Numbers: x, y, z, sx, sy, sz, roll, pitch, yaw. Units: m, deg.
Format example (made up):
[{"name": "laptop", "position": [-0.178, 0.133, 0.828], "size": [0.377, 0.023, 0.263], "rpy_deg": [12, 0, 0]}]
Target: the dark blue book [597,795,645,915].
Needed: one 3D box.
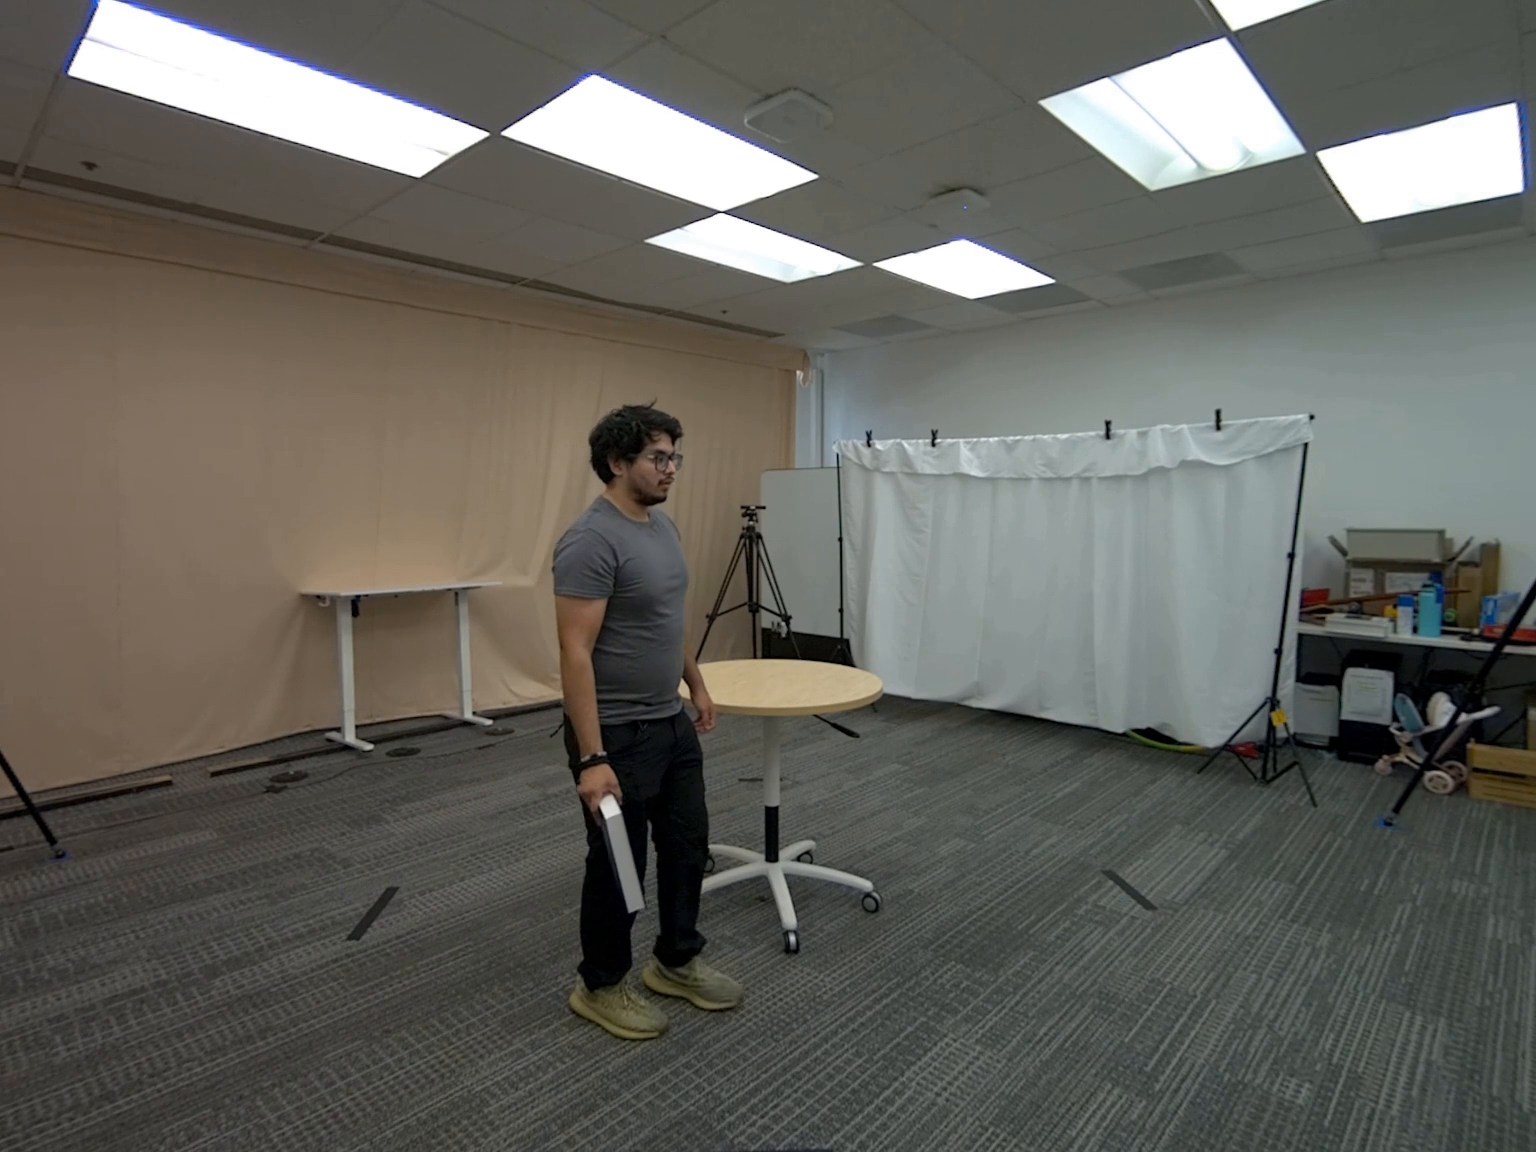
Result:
[{"name": "dark blue book", "position": [-0.348, 0.618, 1.919], "size": [0.044, 0.243, 0.167], "rpy_deg": [-13, 12, -20]}]
